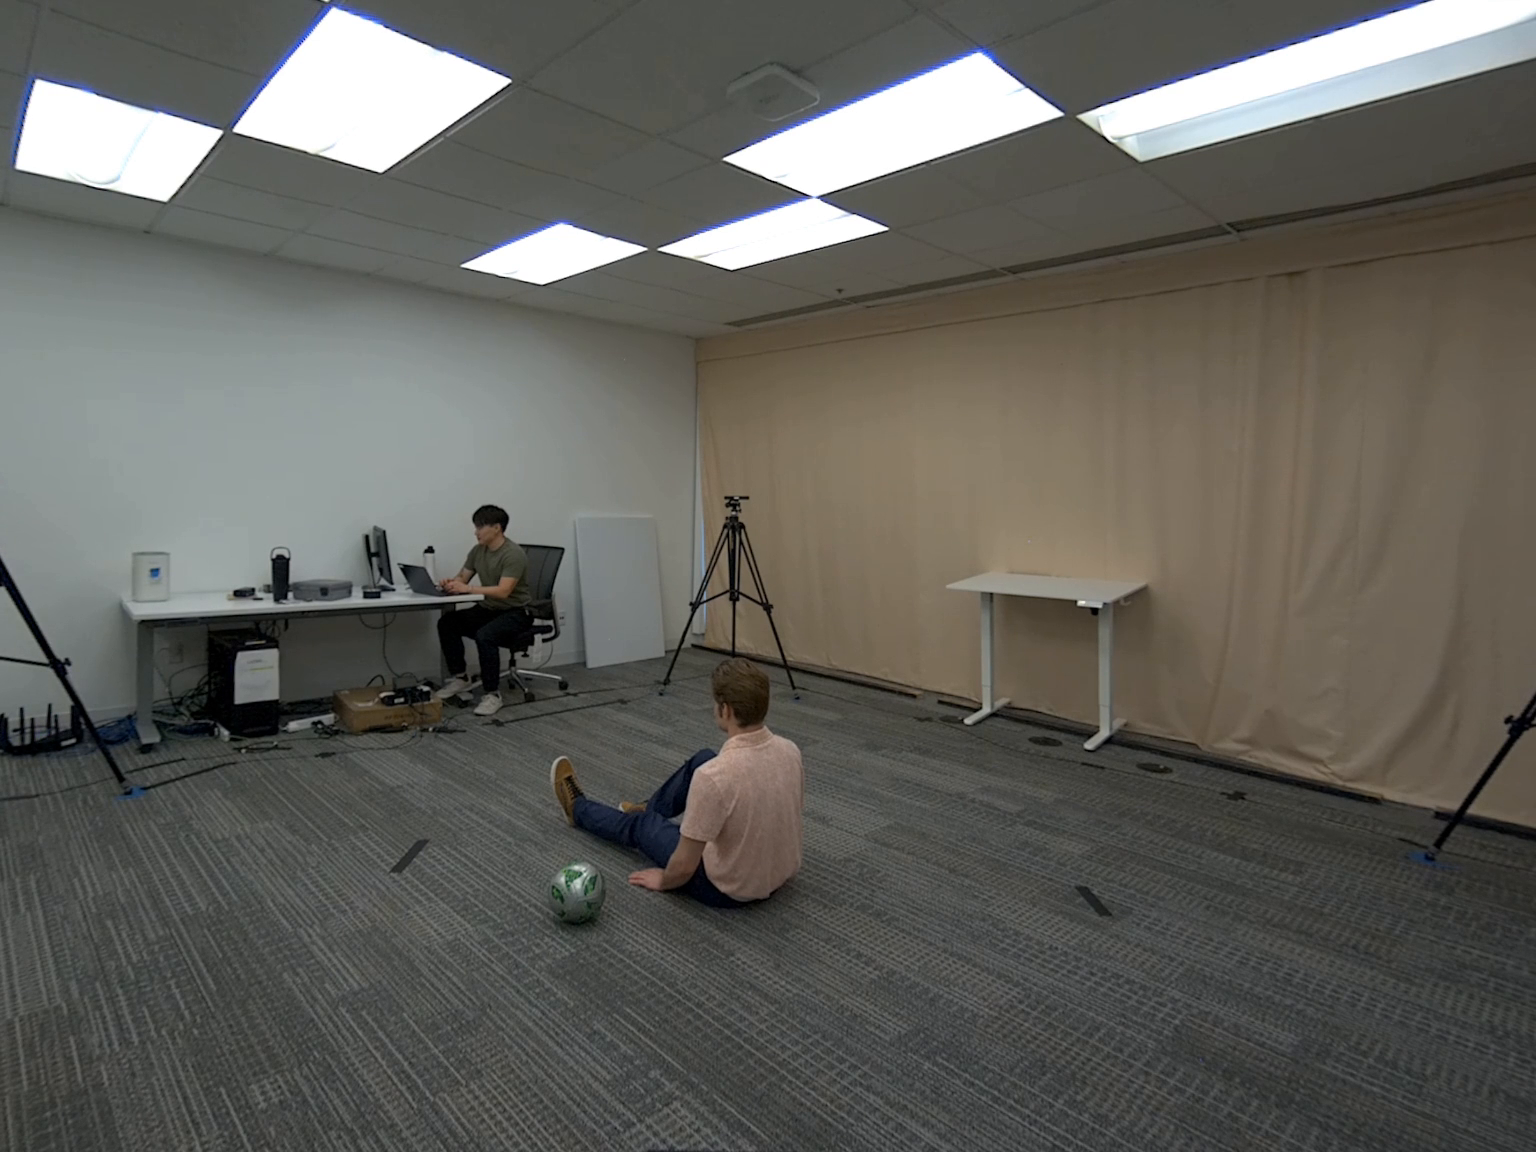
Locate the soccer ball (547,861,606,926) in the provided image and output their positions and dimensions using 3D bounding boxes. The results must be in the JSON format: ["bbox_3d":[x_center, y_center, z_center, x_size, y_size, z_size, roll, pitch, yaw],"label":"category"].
[{"bbox_3d":[-0.624,1.029,2.753,0.187,0.187,0.188,1,4,-1],"label":"soccer ball"}]
